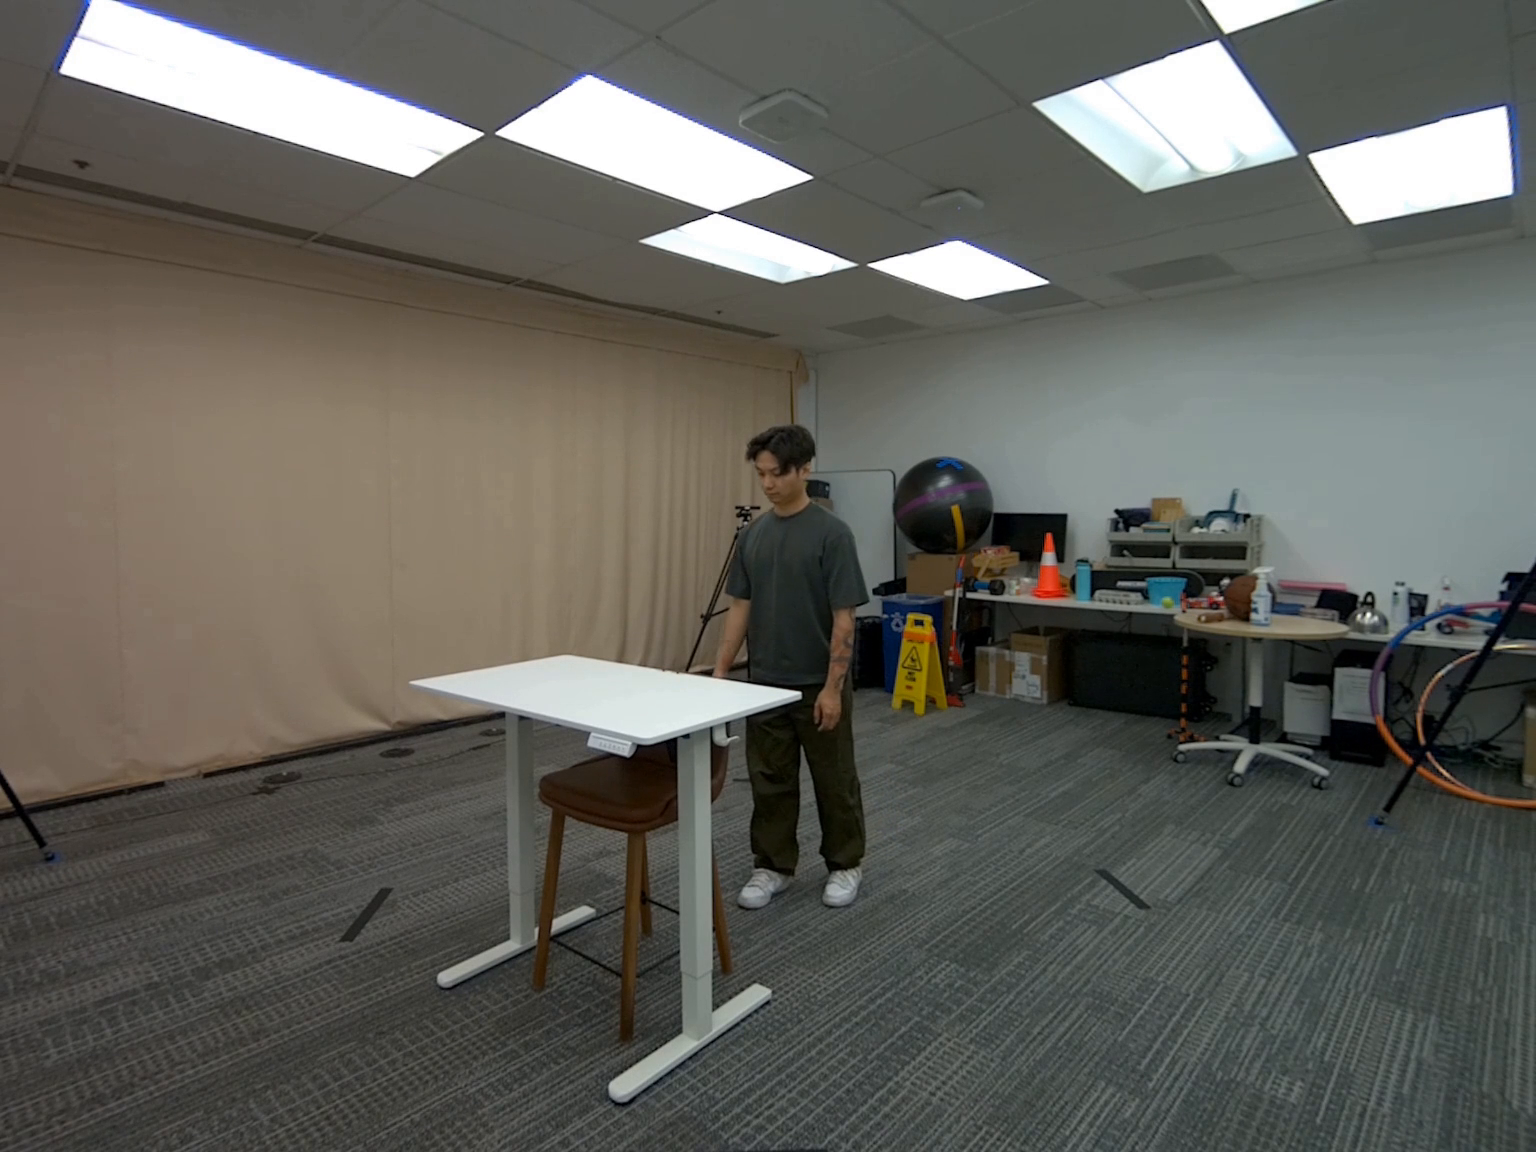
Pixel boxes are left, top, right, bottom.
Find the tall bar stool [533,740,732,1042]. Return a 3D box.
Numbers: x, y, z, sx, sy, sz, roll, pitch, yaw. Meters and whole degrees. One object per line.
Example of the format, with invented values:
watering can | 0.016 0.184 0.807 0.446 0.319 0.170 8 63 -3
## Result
tall bar stool | -0.379 0.753 2.463 0.471 0.889 0.453 3 1 40
